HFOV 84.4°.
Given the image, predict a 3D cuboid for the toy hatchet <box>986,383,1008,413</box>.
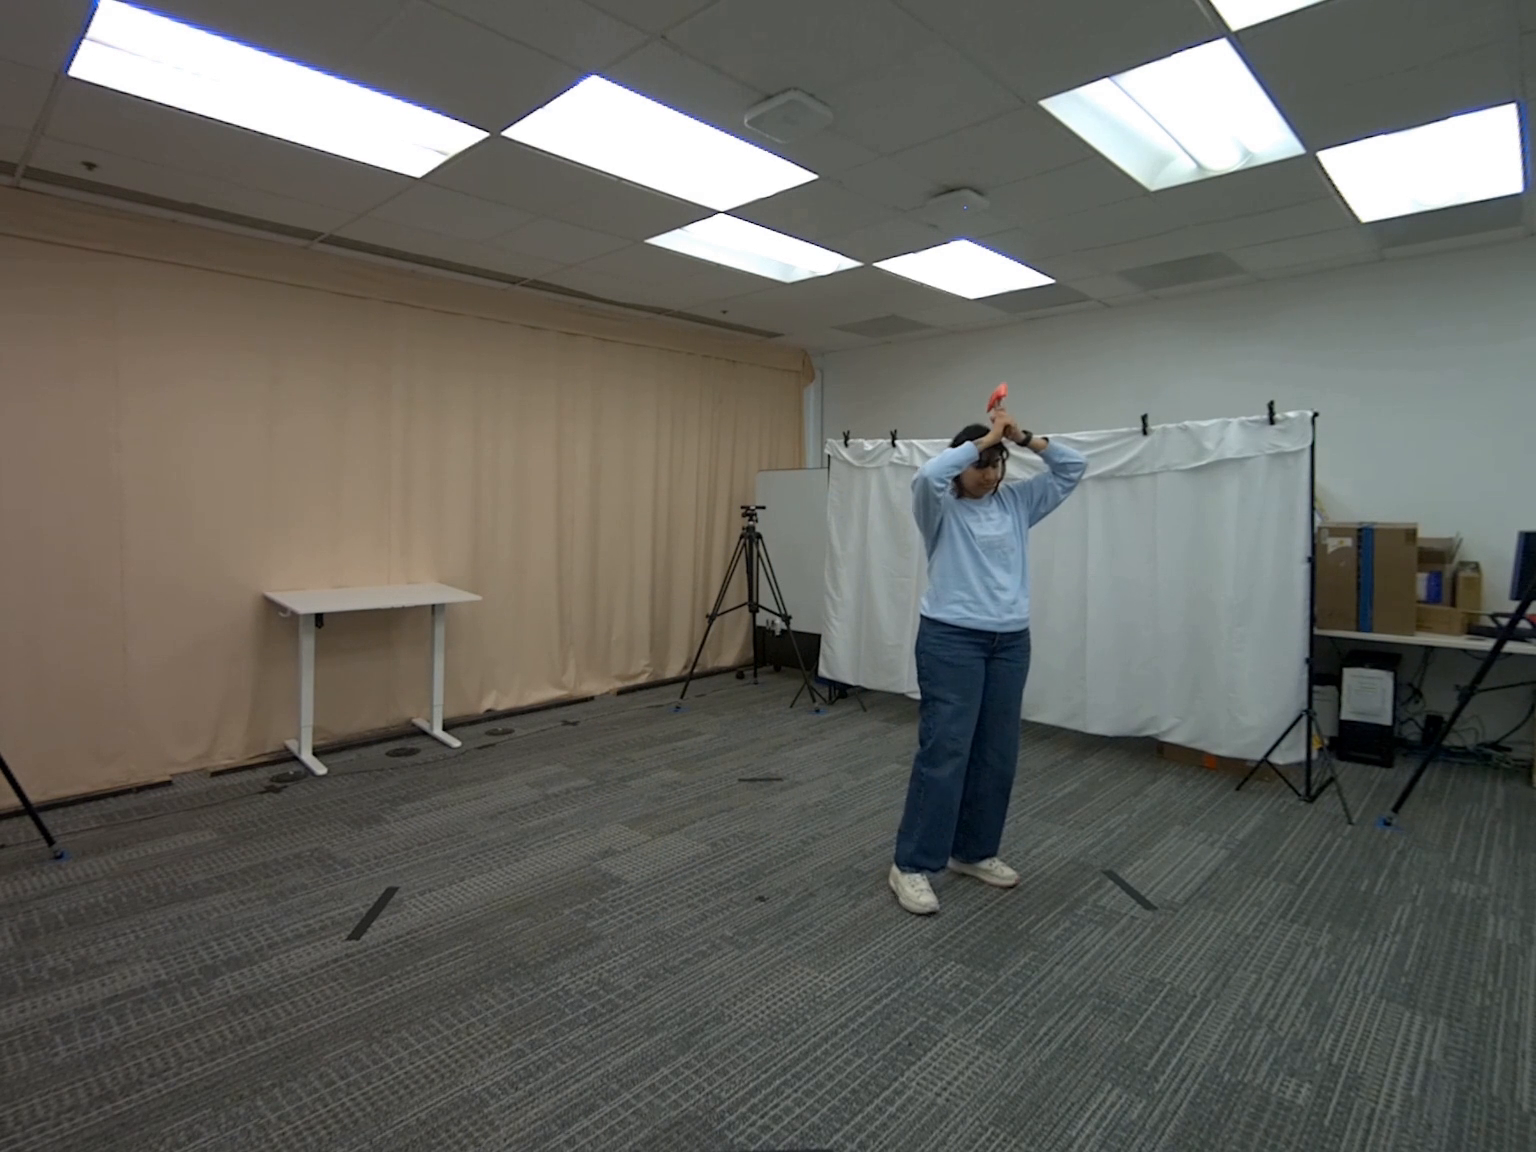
[{"bbox_3d":[0.833,-0.594,2.945,0.029,0.130,0.275,15,27,-11],"label":"toy hatchet"}]
